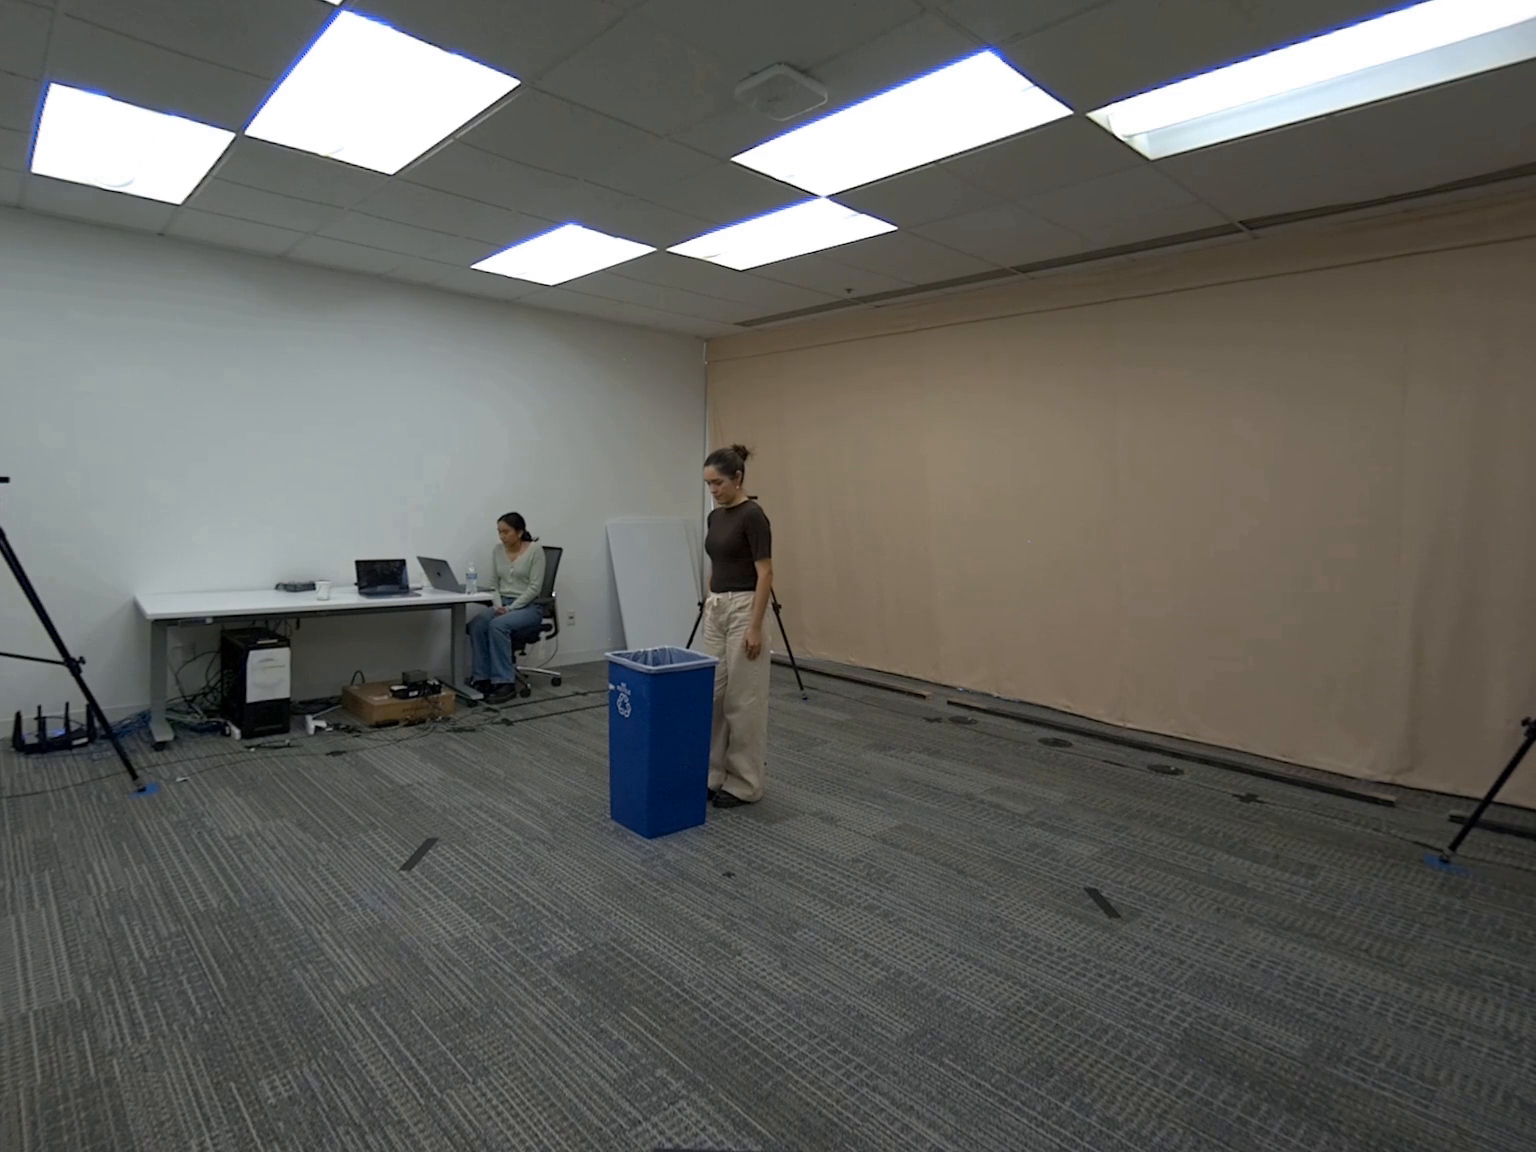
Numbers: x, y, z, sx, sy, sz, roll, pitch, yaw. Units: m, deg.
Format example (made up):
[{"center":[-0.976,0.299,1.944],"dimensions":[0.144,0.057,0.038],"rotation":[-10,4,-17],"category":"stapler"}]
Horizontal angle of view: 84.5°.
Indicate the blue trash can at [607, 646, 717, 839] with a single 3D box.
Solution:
[{"center":[-0.474,0.695,3.585],"dimensions":[0.365,0.712,0.388],"rotation":[-1,4,-41],"category":"blue trash can"}]
